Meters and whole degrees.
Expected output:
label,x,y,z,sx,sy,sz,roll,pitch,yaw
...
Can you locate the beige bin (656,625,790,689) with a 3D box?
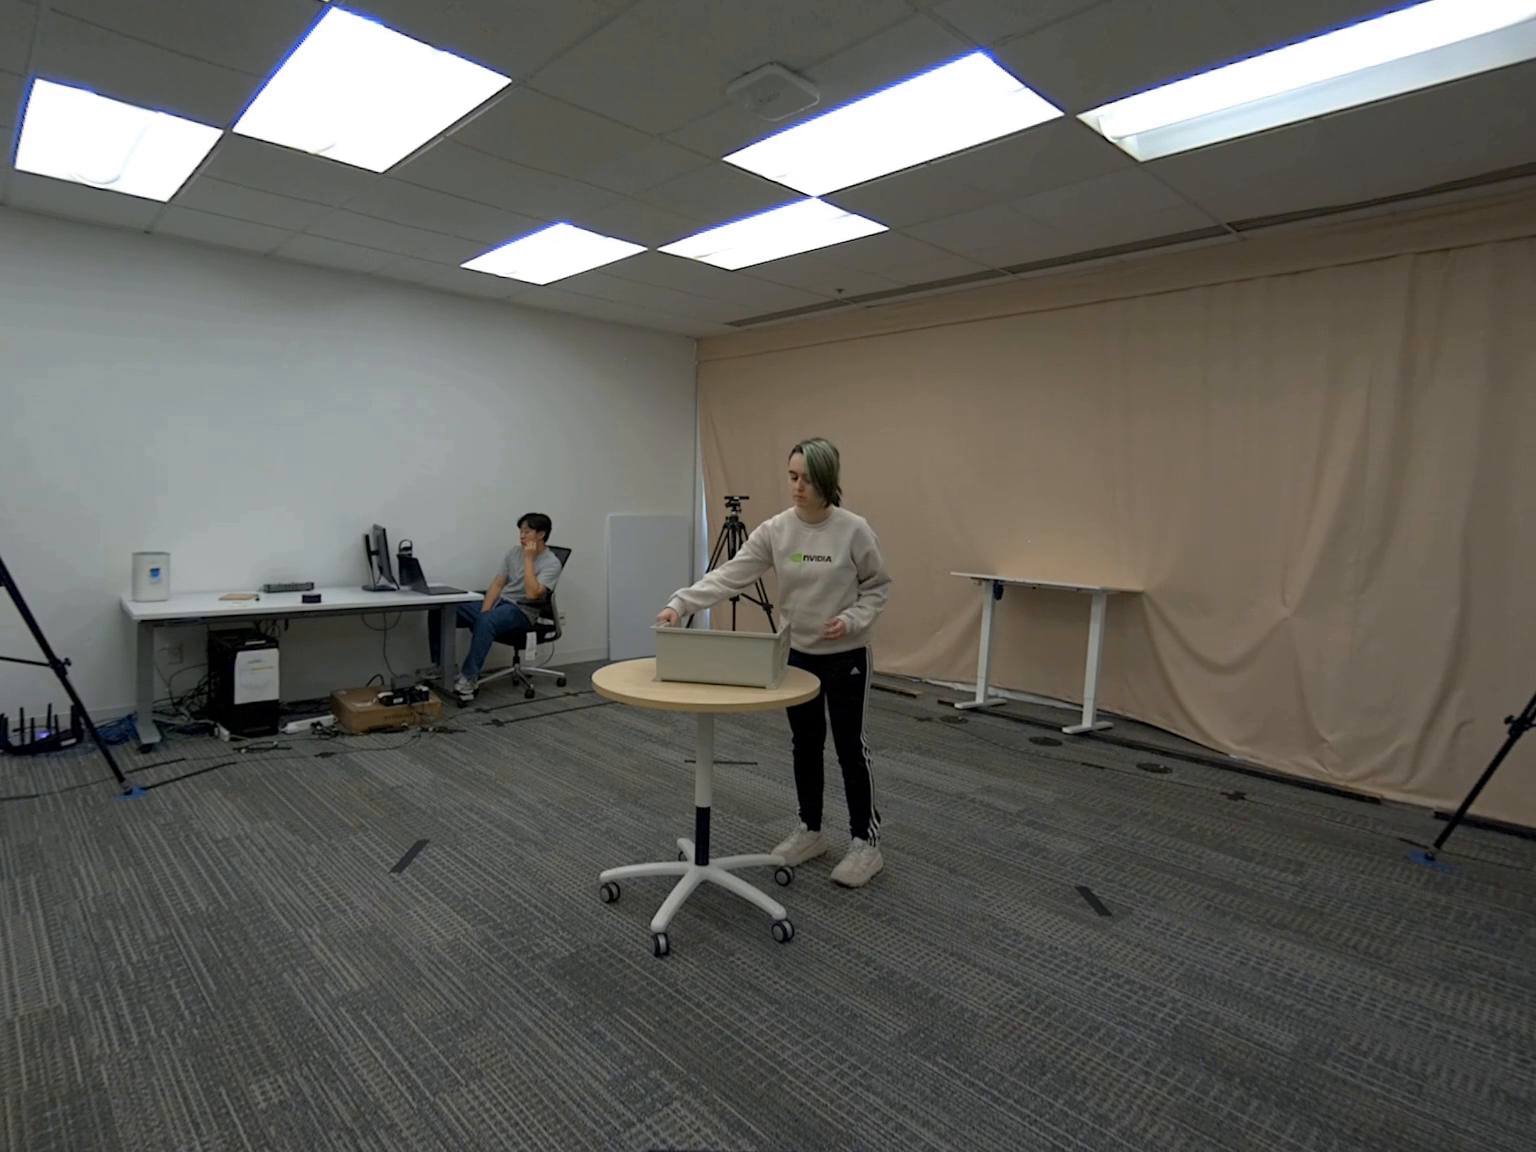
label,x,y,z,sx,sy,sz,roll,pitch,yaw
beige bin,-0.153,0.253,2.875,0.425,0.188,0.376,2,7,8
